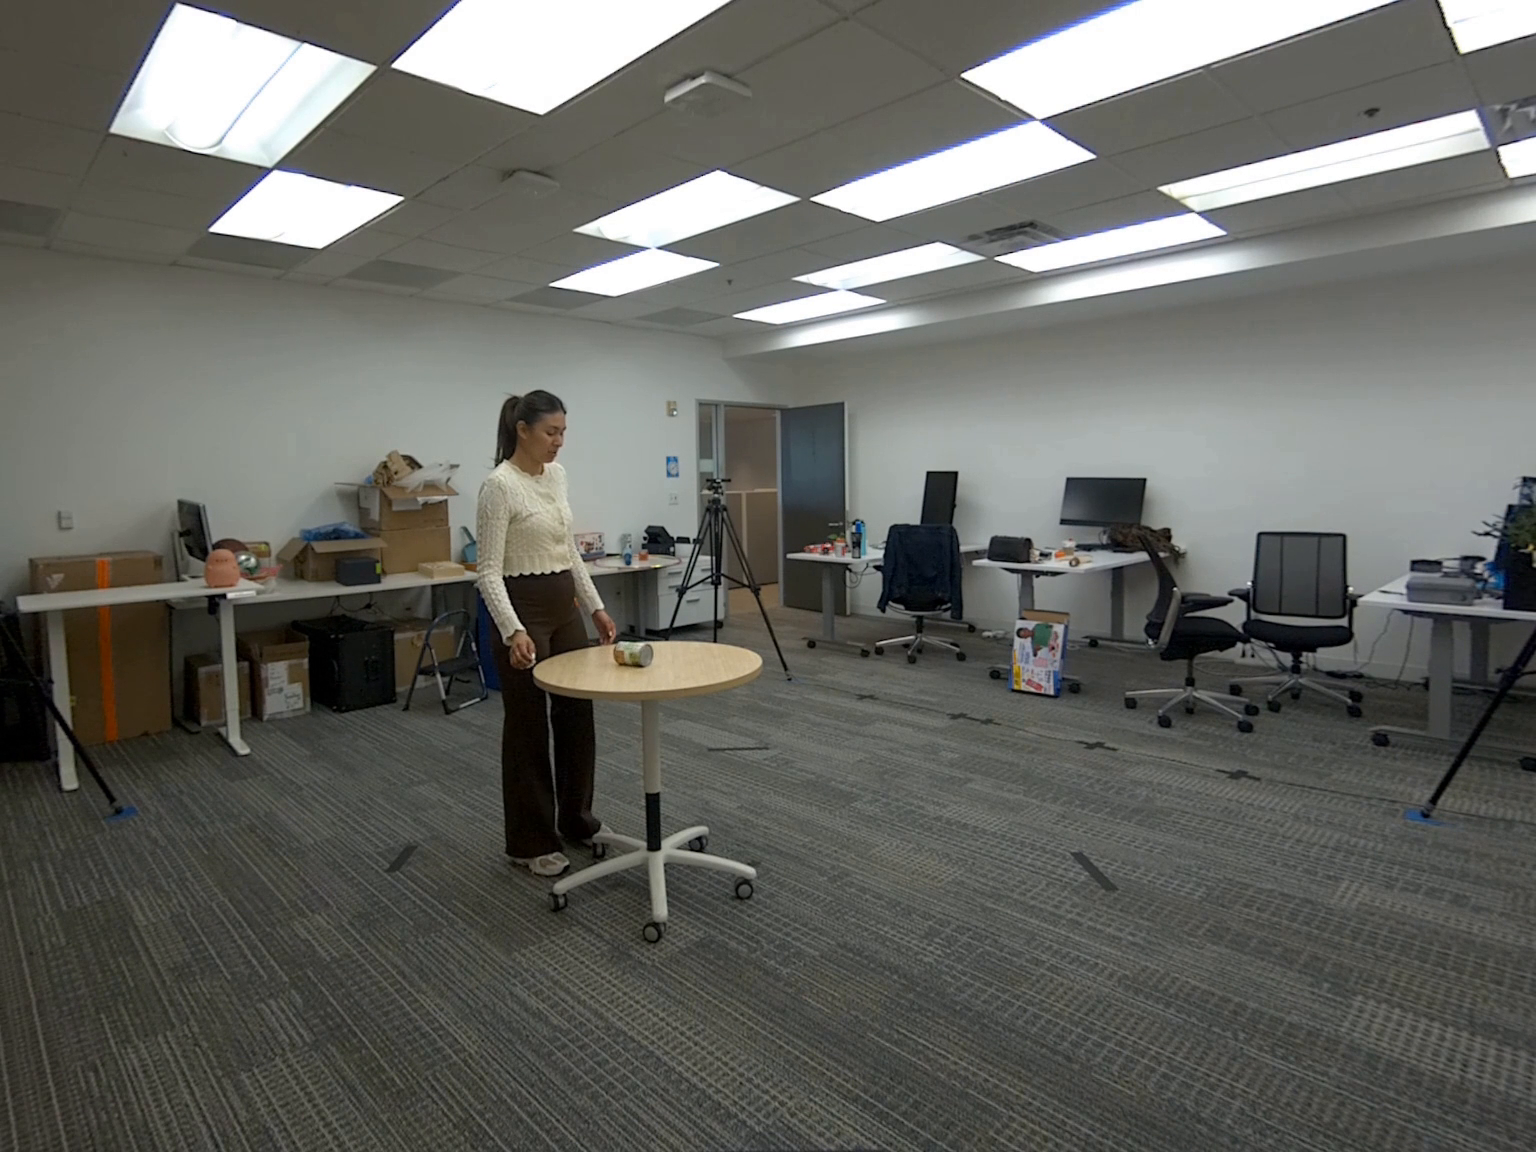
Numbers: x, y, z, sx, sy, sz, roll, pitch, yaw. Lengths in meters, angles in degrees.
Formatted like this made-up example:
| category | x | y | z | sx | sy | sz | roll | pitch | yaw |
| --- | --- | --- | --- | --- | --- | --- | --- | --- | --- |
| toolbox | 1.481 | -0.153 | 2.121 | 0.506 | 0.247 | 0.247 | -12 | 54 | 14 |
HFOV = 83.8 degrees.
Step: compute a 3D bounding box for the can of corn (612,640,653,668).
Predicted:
| category | x | y | z | sx | sy | sz | roll | pitch | yaw |
| --- | --- | --- | --- | --- | --- | --- | --- | --- | --- |
| can of corn | -0.439 | 0.260 | 2.842 | 0.113 | 0.074 | 0.073 | -1 | 4 | 19 |
